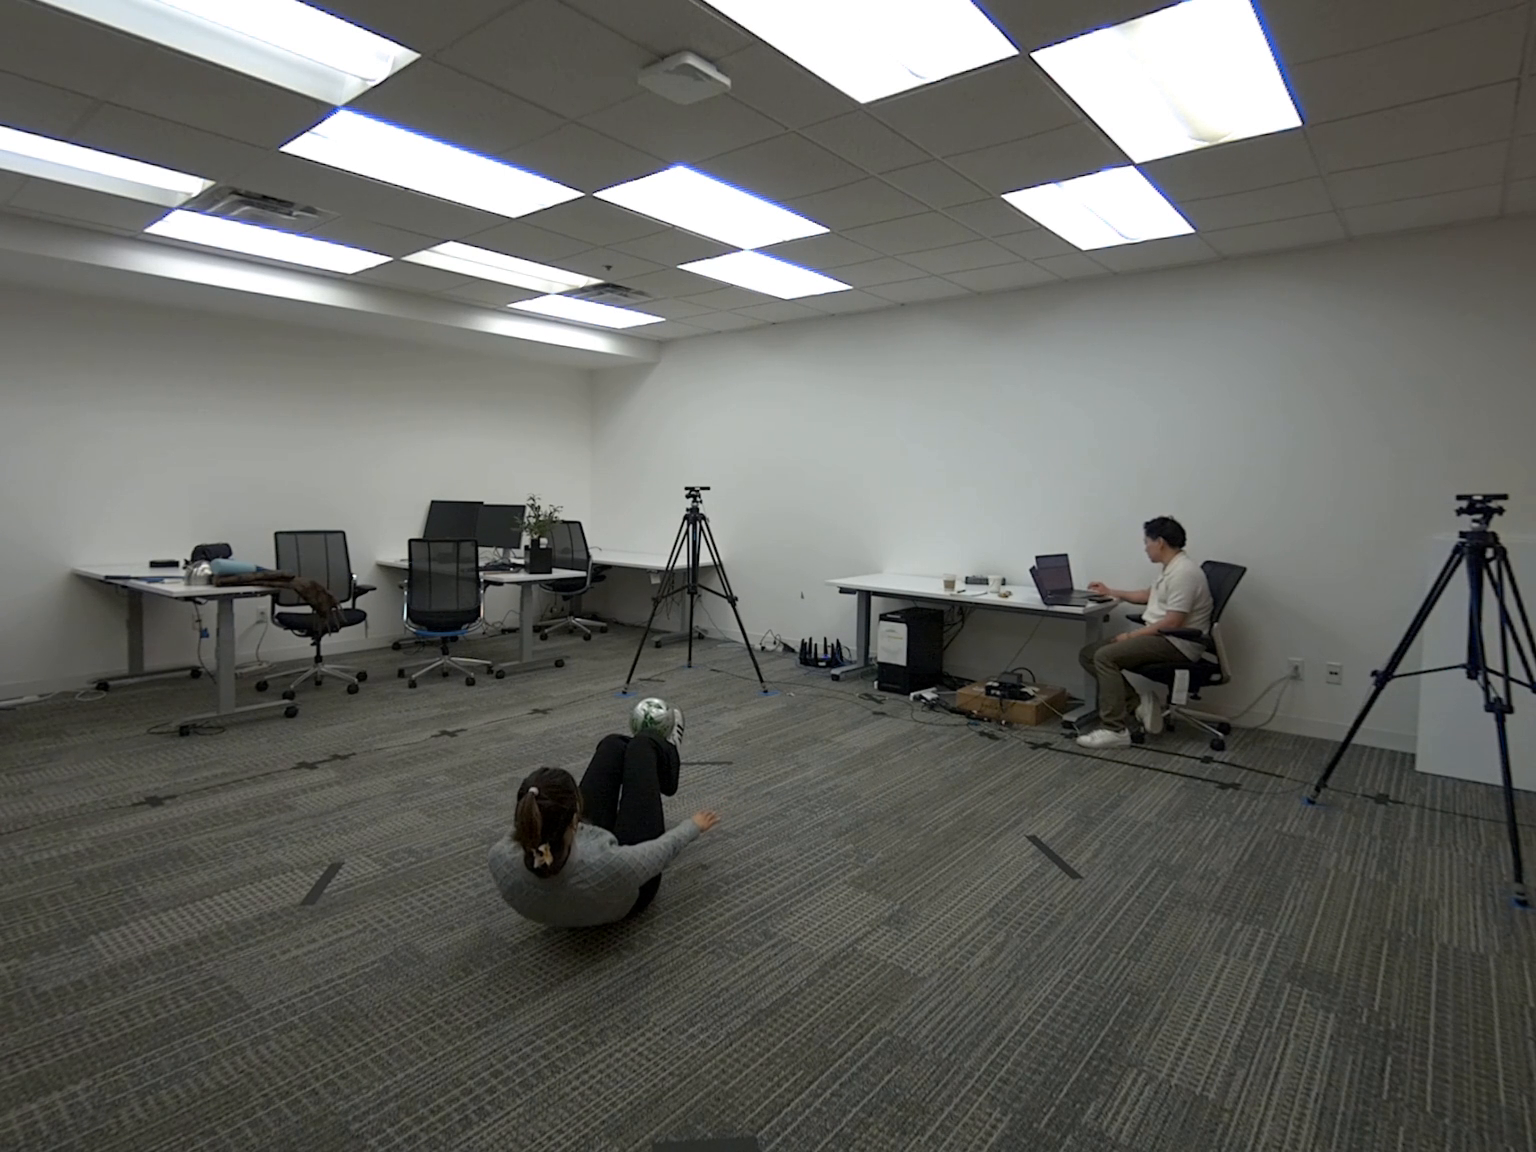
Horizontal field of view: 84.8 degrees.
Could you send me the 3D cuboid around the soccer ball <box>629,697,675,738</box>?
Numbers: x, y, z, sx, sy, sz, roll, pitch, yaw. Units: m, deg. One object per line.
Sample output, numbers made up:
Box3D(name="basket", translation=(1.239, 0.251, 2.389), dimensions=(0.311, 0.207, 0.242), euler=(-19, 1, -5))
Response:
Box3D(name="soccer ball", translation=(-0.483, 0.587, 3.446), dimensions=(0.187, 0.187, 0.188), euler=(0, 4, -2))
